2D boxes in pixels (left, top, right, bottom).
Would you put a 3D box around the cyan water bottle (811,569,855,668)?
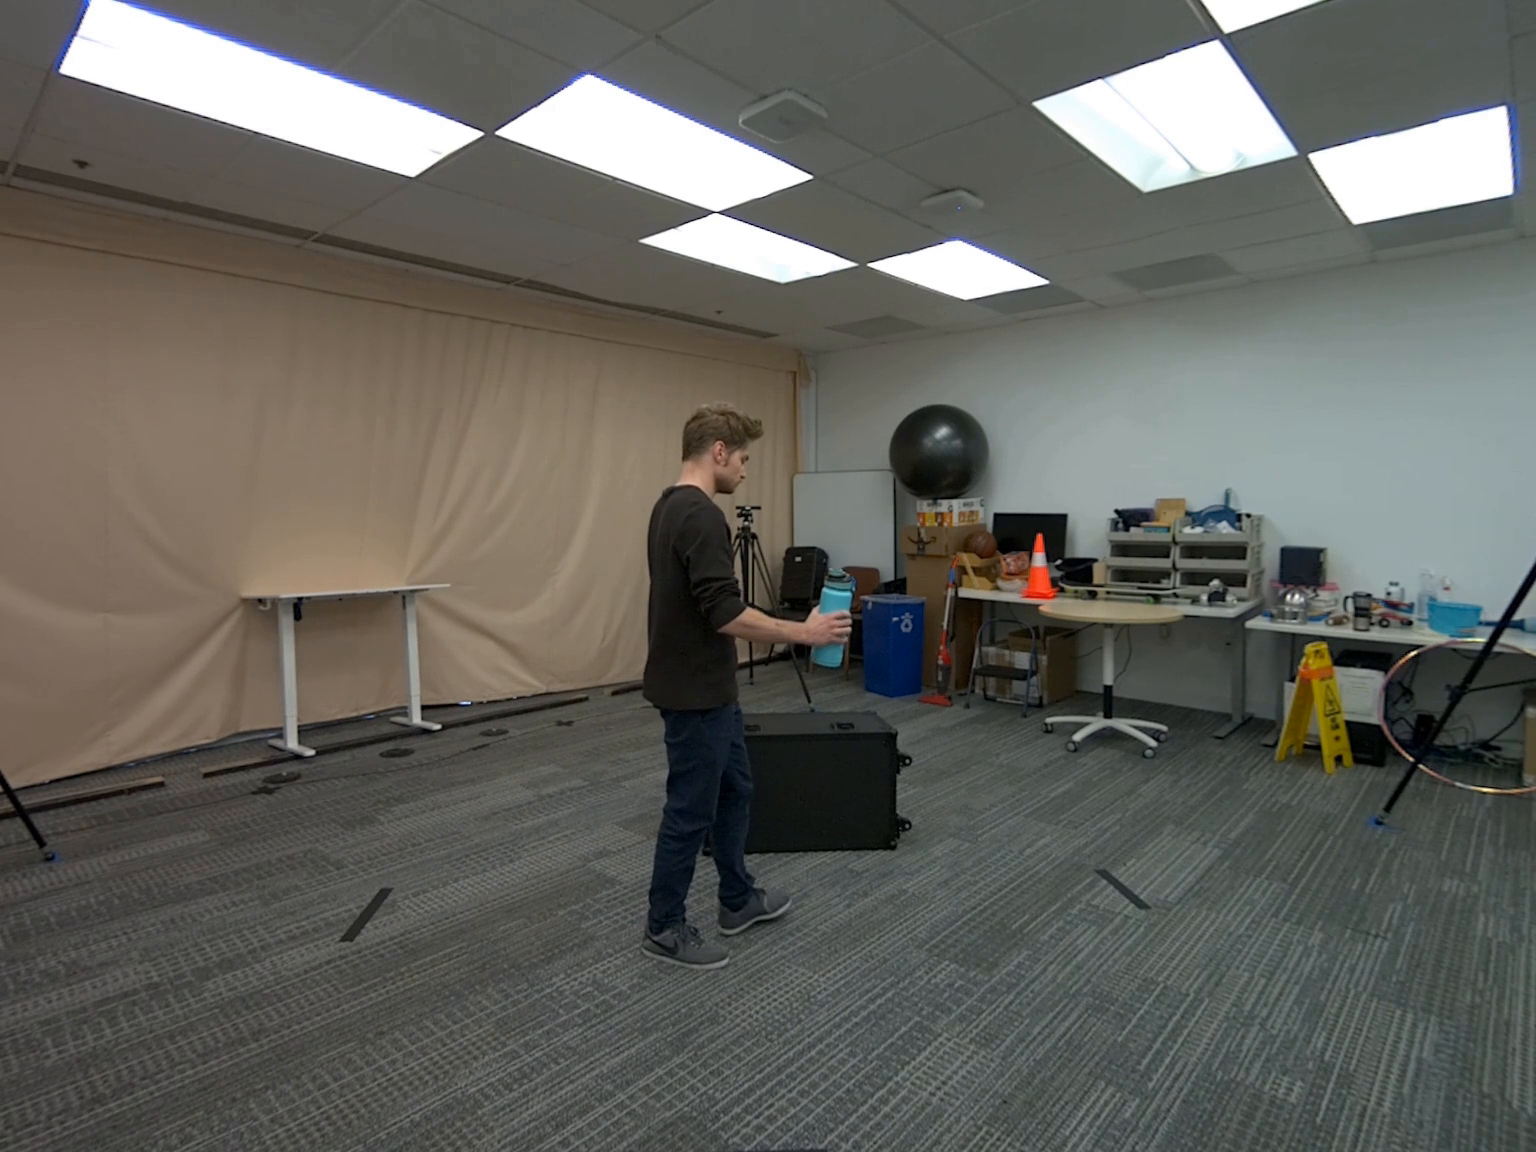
[{"bbox_3d":[0.196,0.120,2.476,0.092,0.282,0.093,11,6,-3],"label":"cyan water bottle"}]
